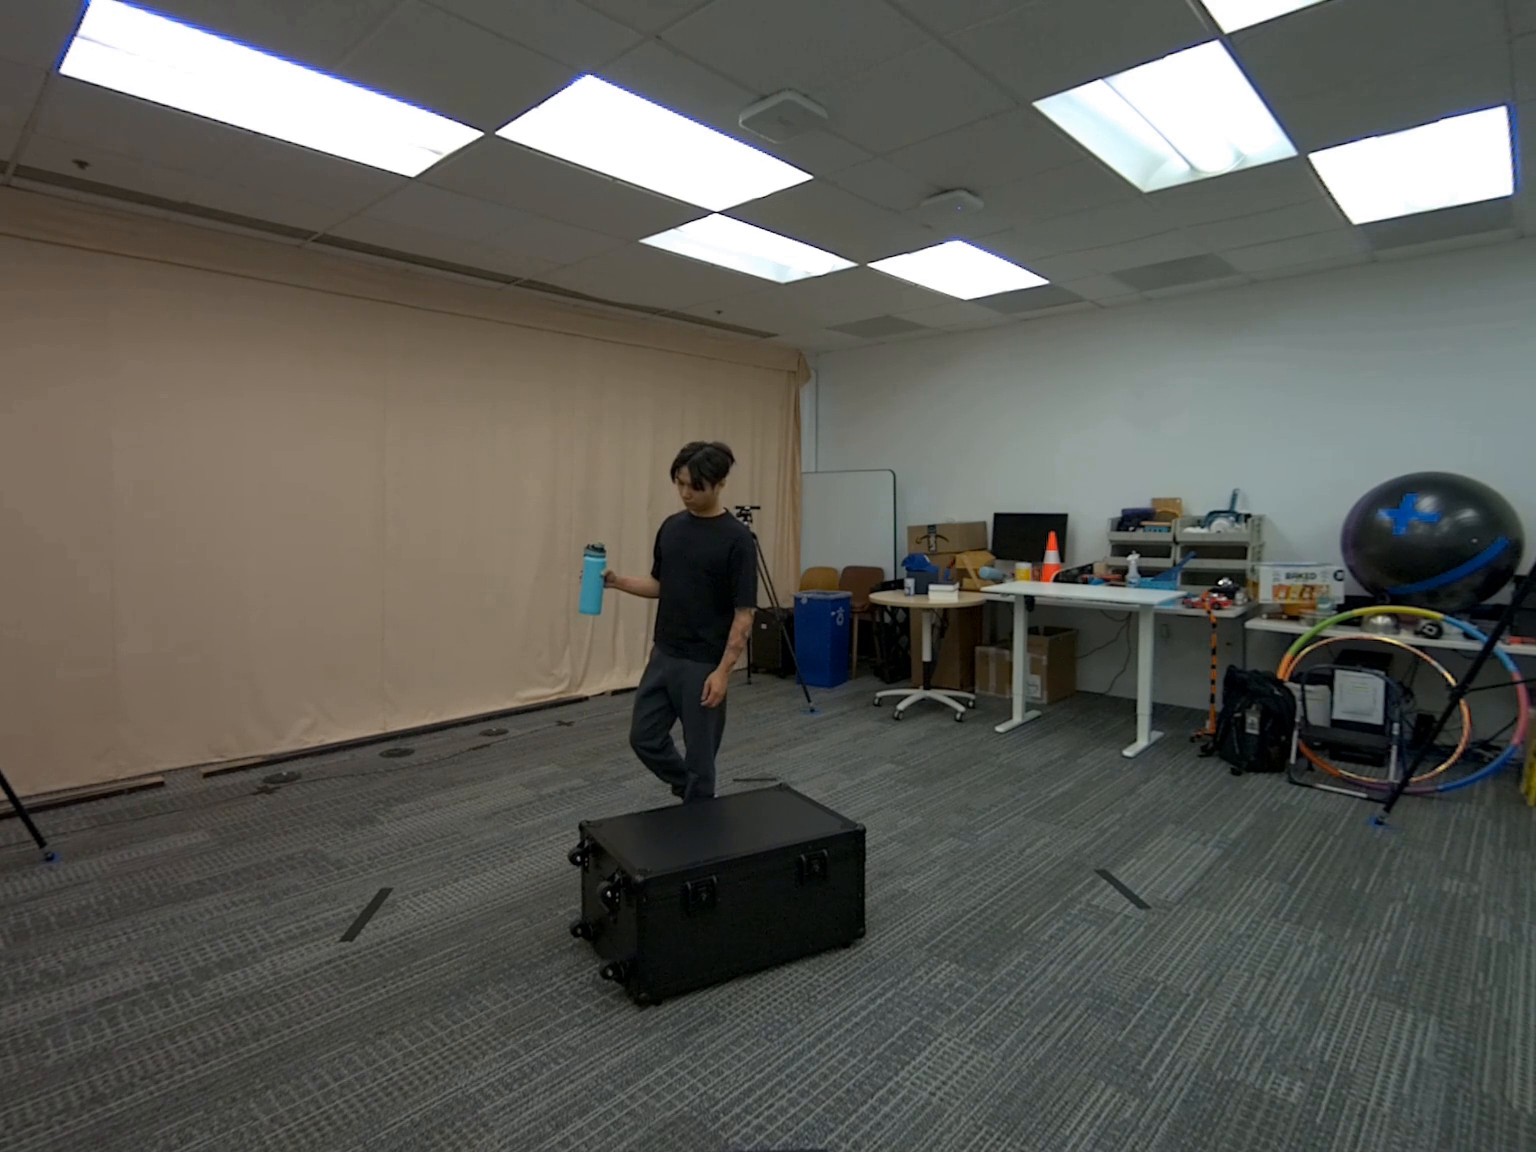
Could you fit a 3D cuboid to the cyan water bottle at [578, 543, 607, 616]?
[{"bbox_3d":[-0.685,0.014,3.314,0.092,0.282,0.093,6,6,-3],"label":"cyan water bottle"}]
